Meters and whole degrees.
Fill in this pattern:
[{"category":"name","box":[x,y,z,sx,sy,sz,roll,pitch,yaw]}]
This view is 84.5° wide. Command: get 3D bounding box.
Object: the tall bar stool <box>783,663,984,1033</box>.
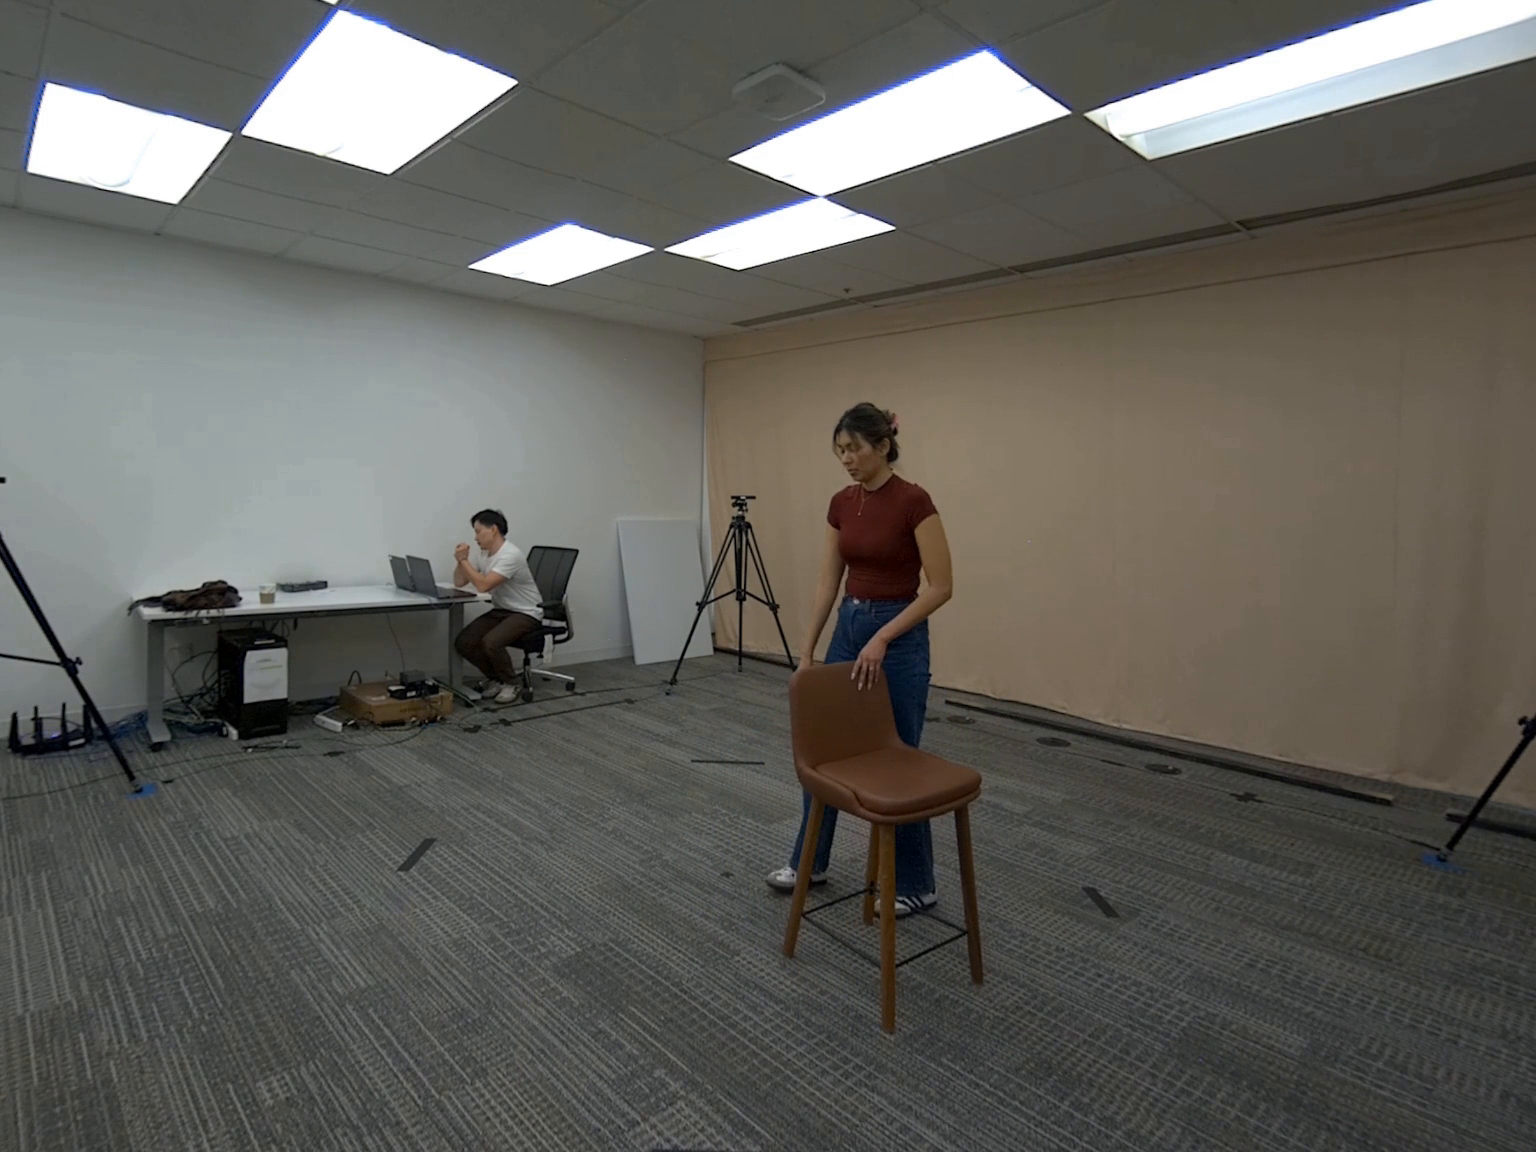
[{"category":"tall bar stool","box":[0.327,0.739,2.471,0.446,0.888,0.479,-2,3,-39]}]
